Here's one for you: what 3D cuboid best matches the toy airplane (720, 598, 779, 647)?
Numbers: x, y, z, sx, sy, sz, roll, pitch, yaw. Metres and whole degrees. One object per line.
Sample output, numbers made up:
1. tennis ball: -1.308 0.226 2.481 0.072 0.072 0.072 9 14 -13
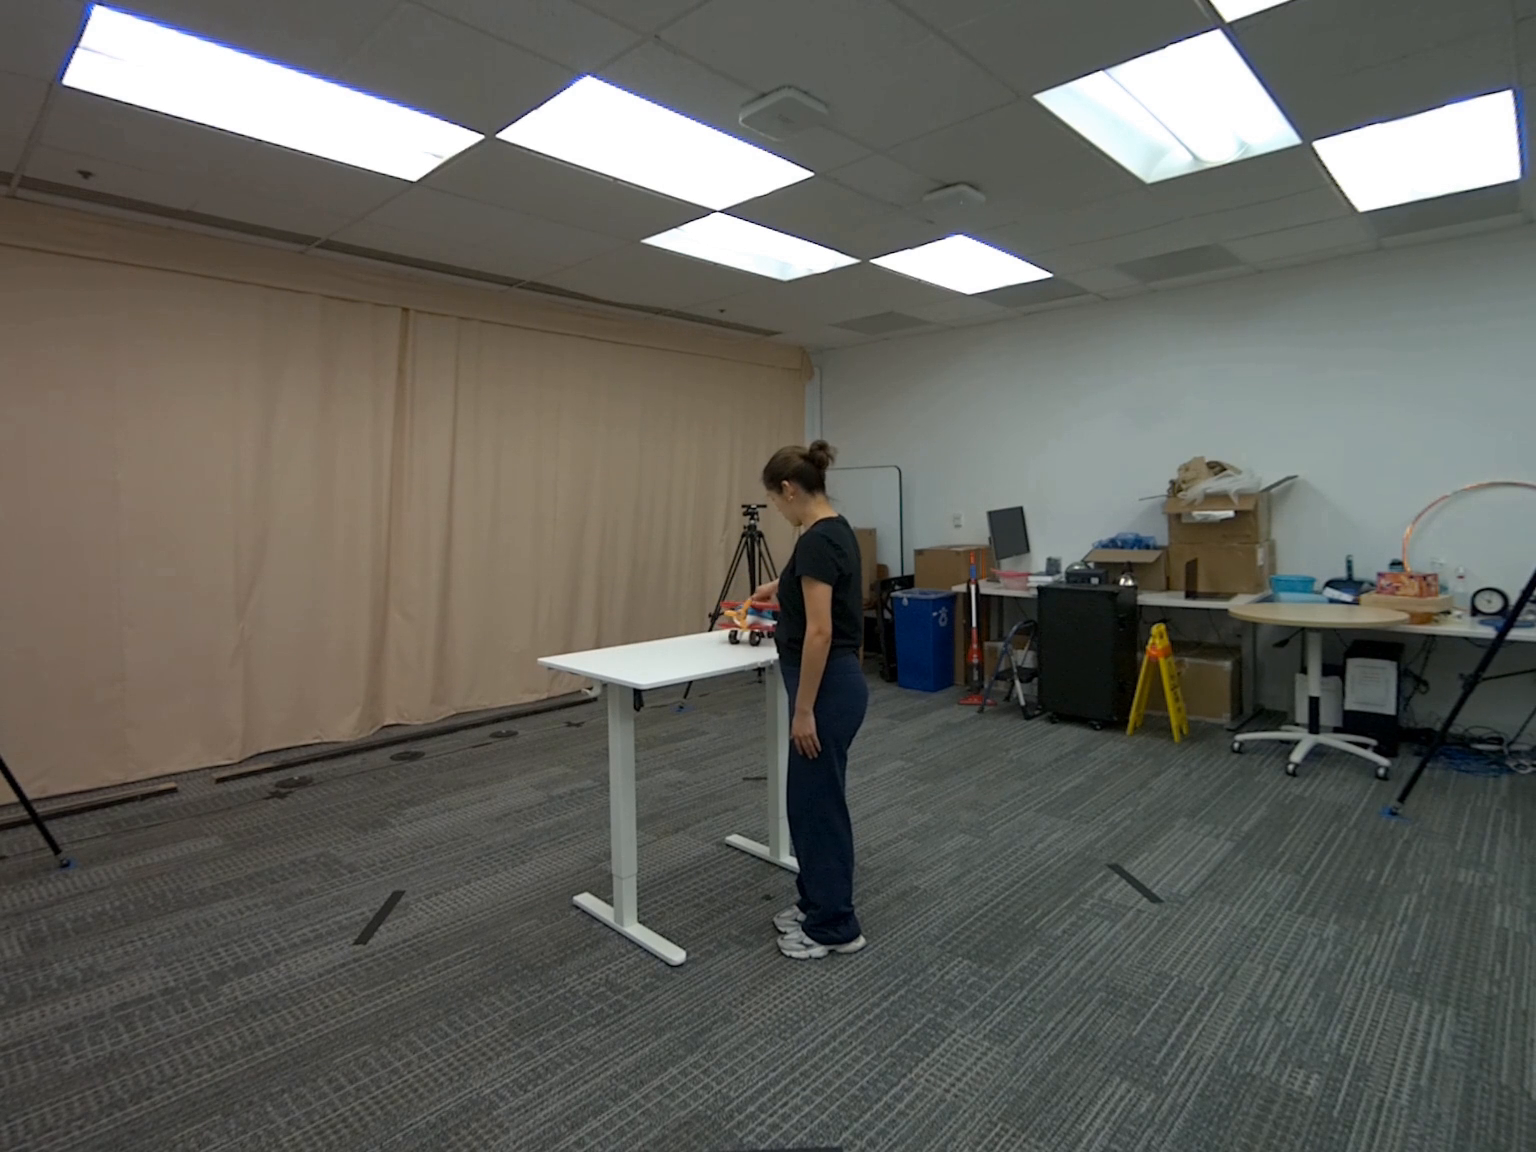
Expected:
1. toy airplane: -0.050 0.167 3.153 0.251 0.156 0.260 -2 5 -2
